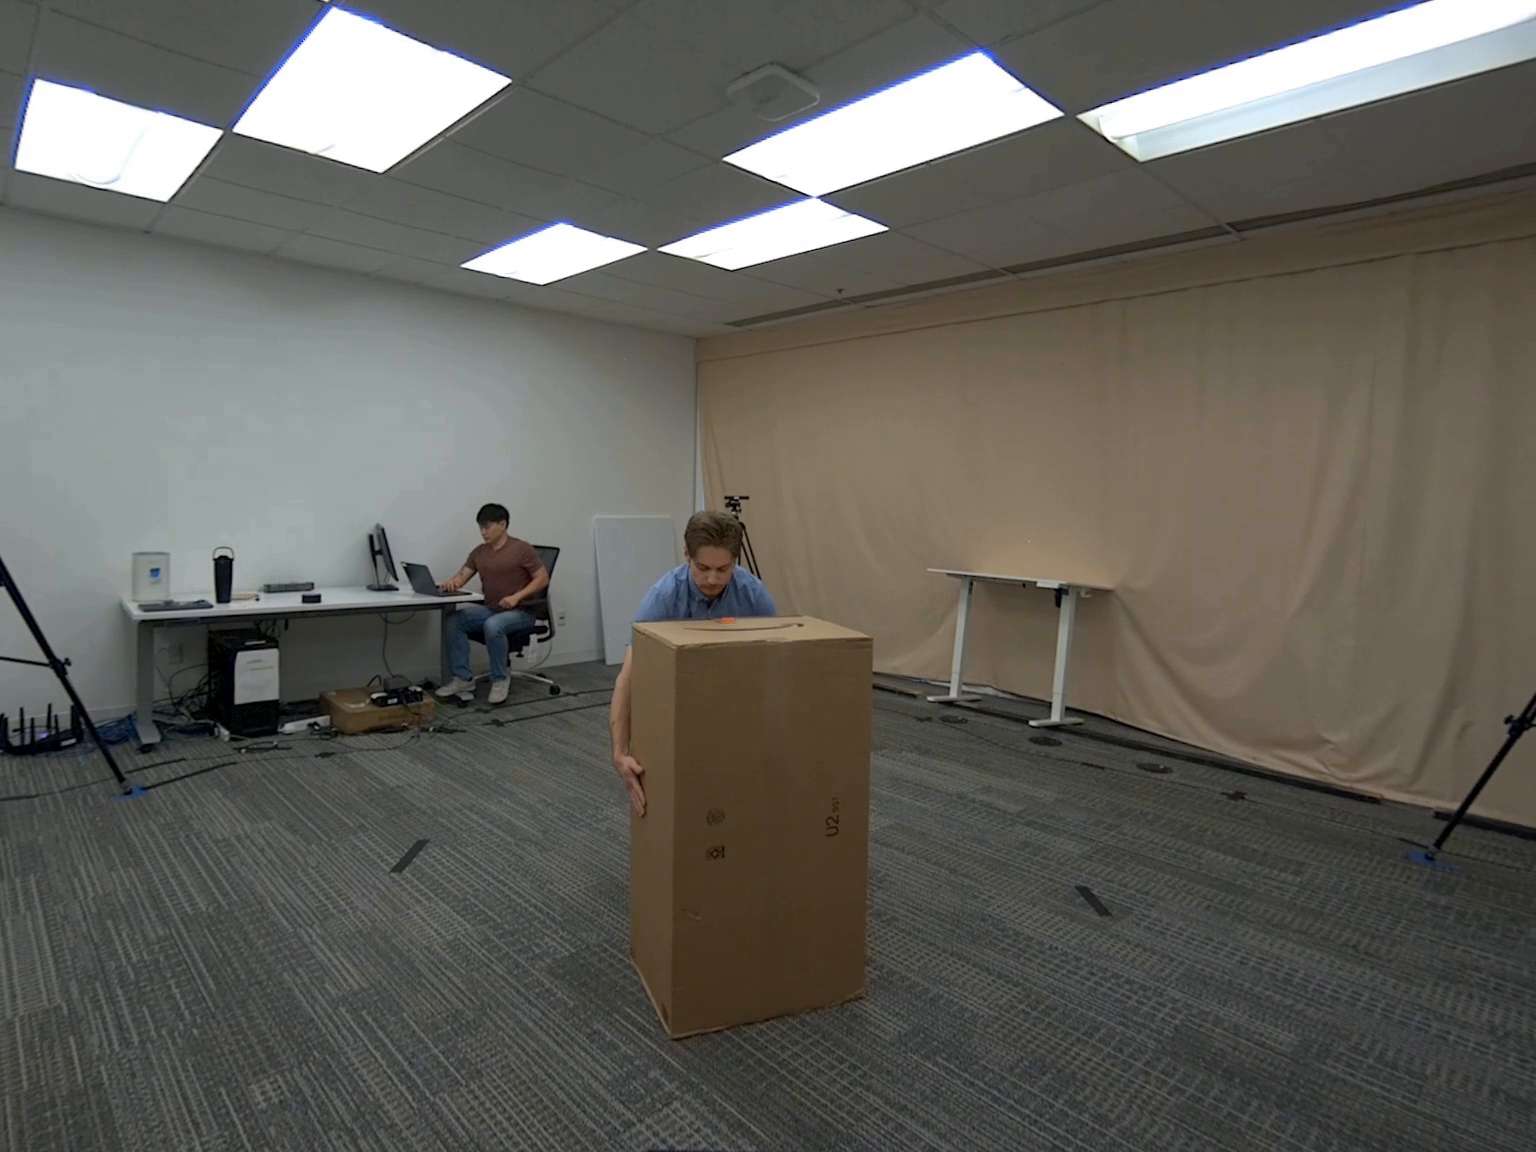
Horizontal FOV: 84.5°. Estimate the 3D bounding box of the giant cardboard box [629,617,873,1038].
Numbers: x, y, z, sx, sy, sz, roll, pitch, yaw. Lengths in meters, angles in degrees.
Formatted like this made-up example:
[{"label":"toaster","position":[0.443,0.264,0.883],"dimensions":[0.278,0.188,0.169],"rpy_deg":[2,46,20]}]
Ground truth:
[{"label":"giant cardboard box","position":[-0.069,0.663,2.416],"dimensions":[0.568,1.023,0.434],"rpy_deg":[0,4,-23]}]
